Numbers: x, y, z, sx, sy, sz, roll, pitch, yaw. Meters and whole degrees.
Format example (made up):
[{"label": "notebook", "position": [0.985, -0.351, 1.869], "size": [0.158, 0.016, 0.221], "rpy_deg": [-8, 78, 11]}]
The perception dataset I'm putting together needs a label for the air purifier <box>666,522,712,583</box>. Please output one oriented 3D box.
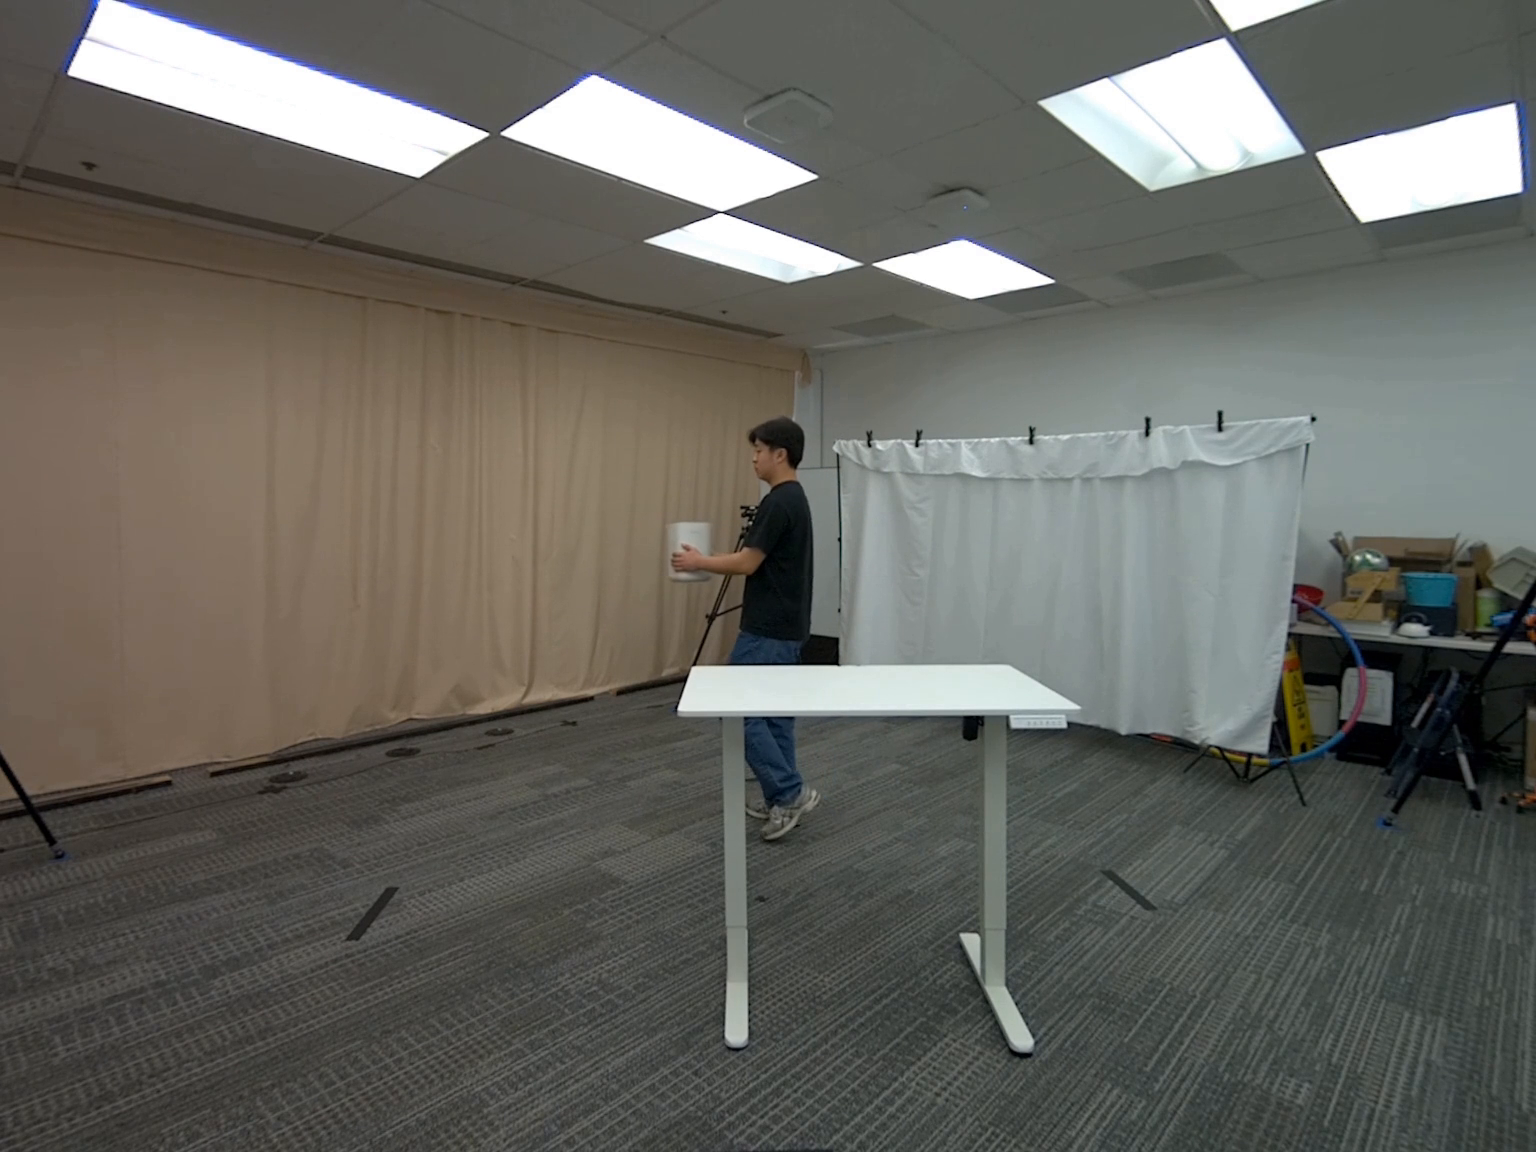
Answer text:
[{"label": "air purifier", "position": [-0.346, -0.105, 3.760], "size": [0.167, 0.266, 0.176], "rpy_deg": [-1, -2, -27]}]
